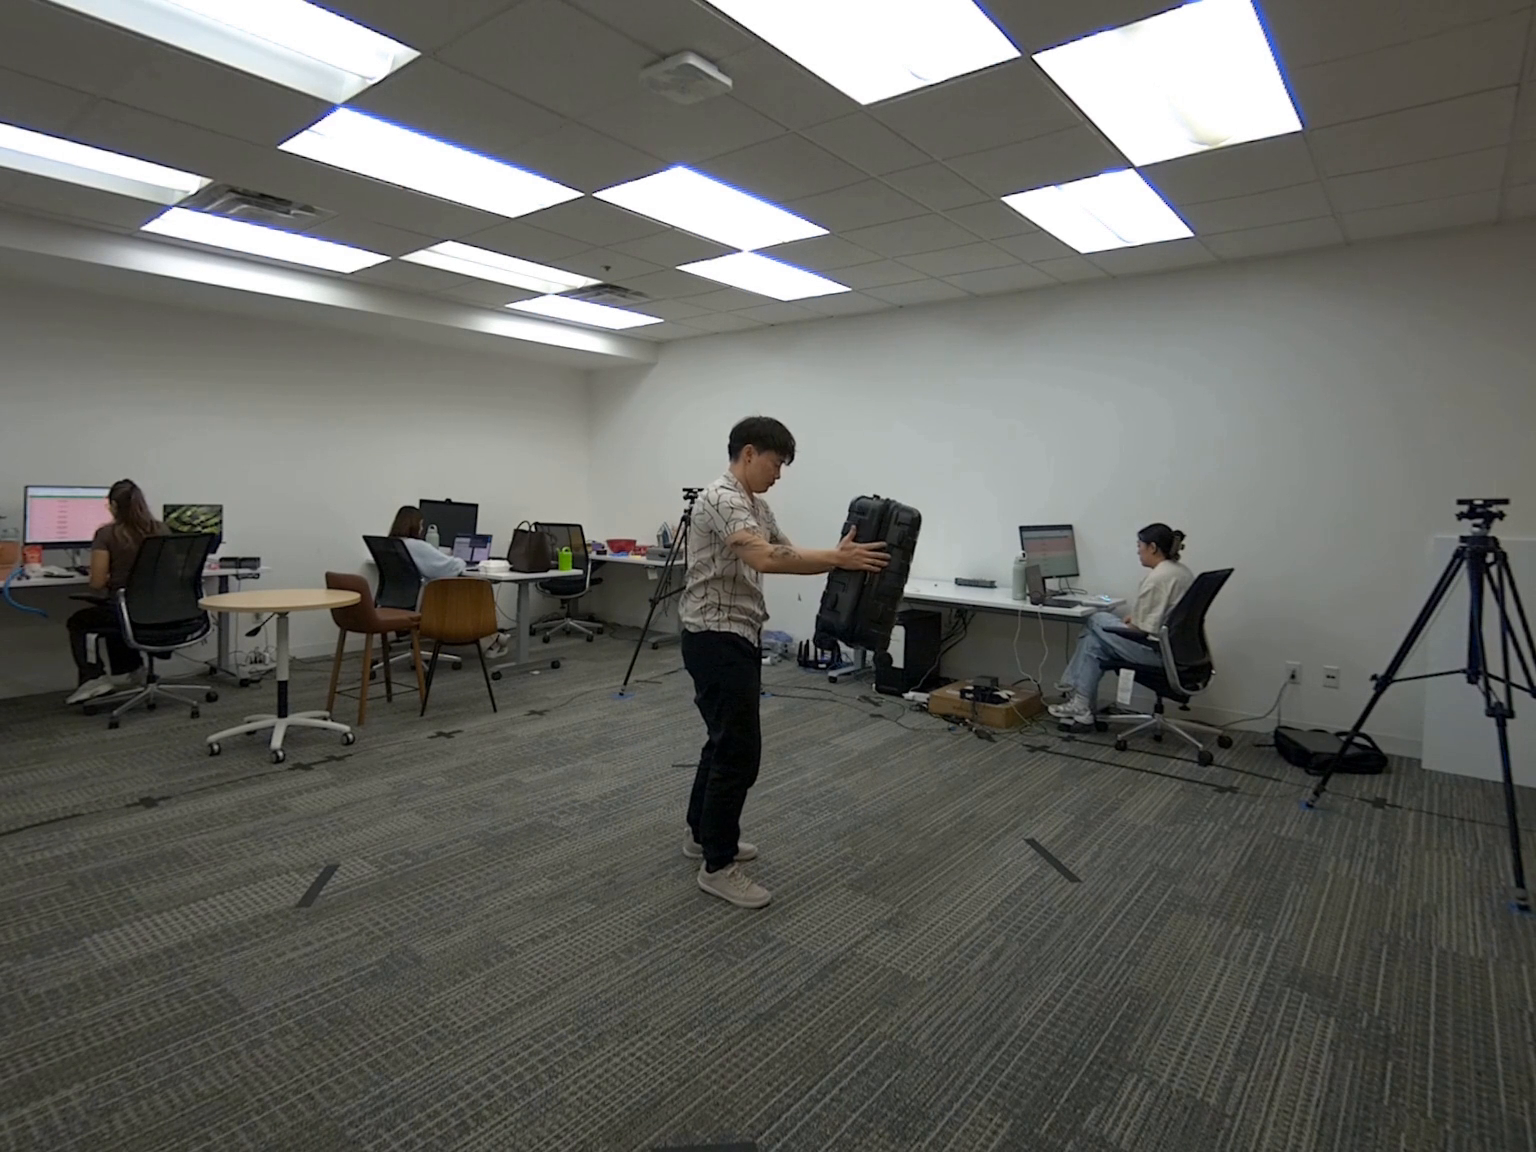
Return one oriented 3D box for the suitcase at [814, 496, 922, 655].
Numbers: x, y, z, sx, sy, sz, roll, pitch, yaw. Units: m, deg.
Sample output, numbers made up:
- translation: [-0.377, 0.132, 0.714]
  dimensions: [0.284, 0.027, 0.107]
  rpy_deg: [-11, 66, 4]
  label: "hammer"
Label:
- translation: [0.344, 0.010, 2.923]
  dimensions: [0.252, 0.551, 0.368]
  rpy_deg: [16, -4, 11]
  label: "suitcase"
